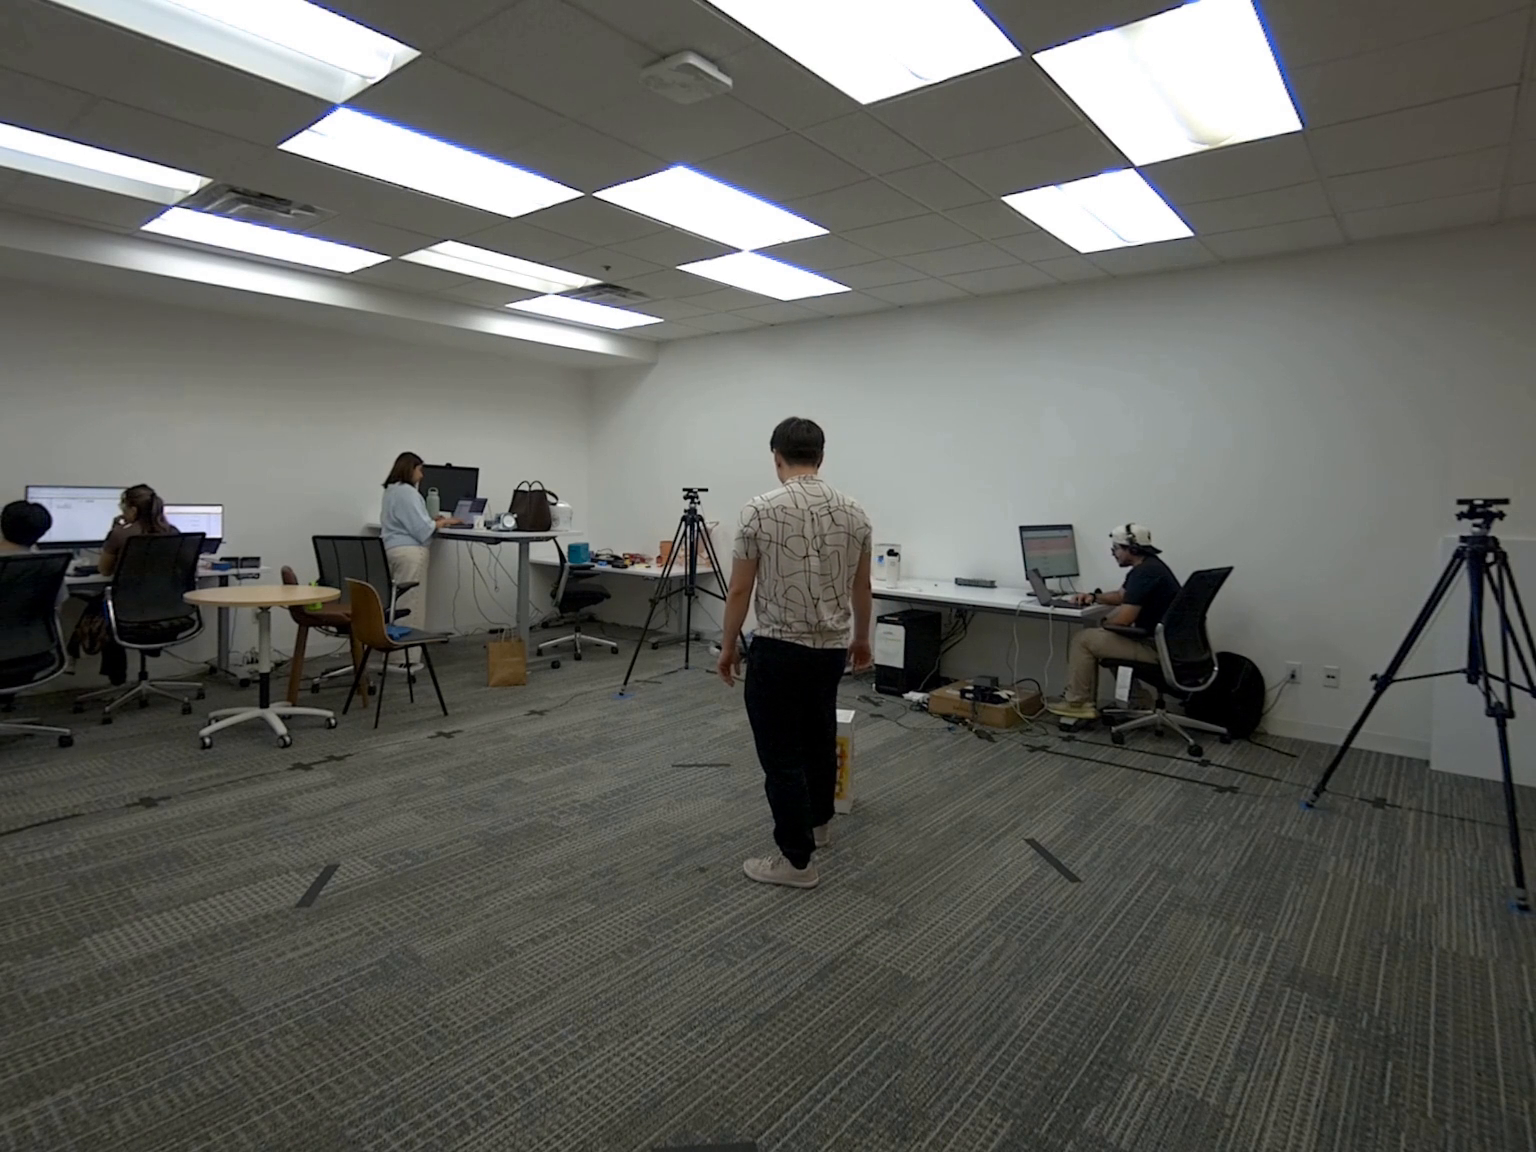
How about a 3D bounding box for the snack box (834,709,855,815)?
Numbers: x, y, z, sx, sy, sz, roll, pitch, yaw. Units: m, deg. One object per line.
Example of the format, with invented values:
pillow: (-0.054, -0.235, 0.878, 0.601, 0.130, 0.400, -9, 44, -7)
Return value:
snack box: (0.202, 0.804, 3.798, 0.346, 0.404, 0.203, 2, 4, 15)
